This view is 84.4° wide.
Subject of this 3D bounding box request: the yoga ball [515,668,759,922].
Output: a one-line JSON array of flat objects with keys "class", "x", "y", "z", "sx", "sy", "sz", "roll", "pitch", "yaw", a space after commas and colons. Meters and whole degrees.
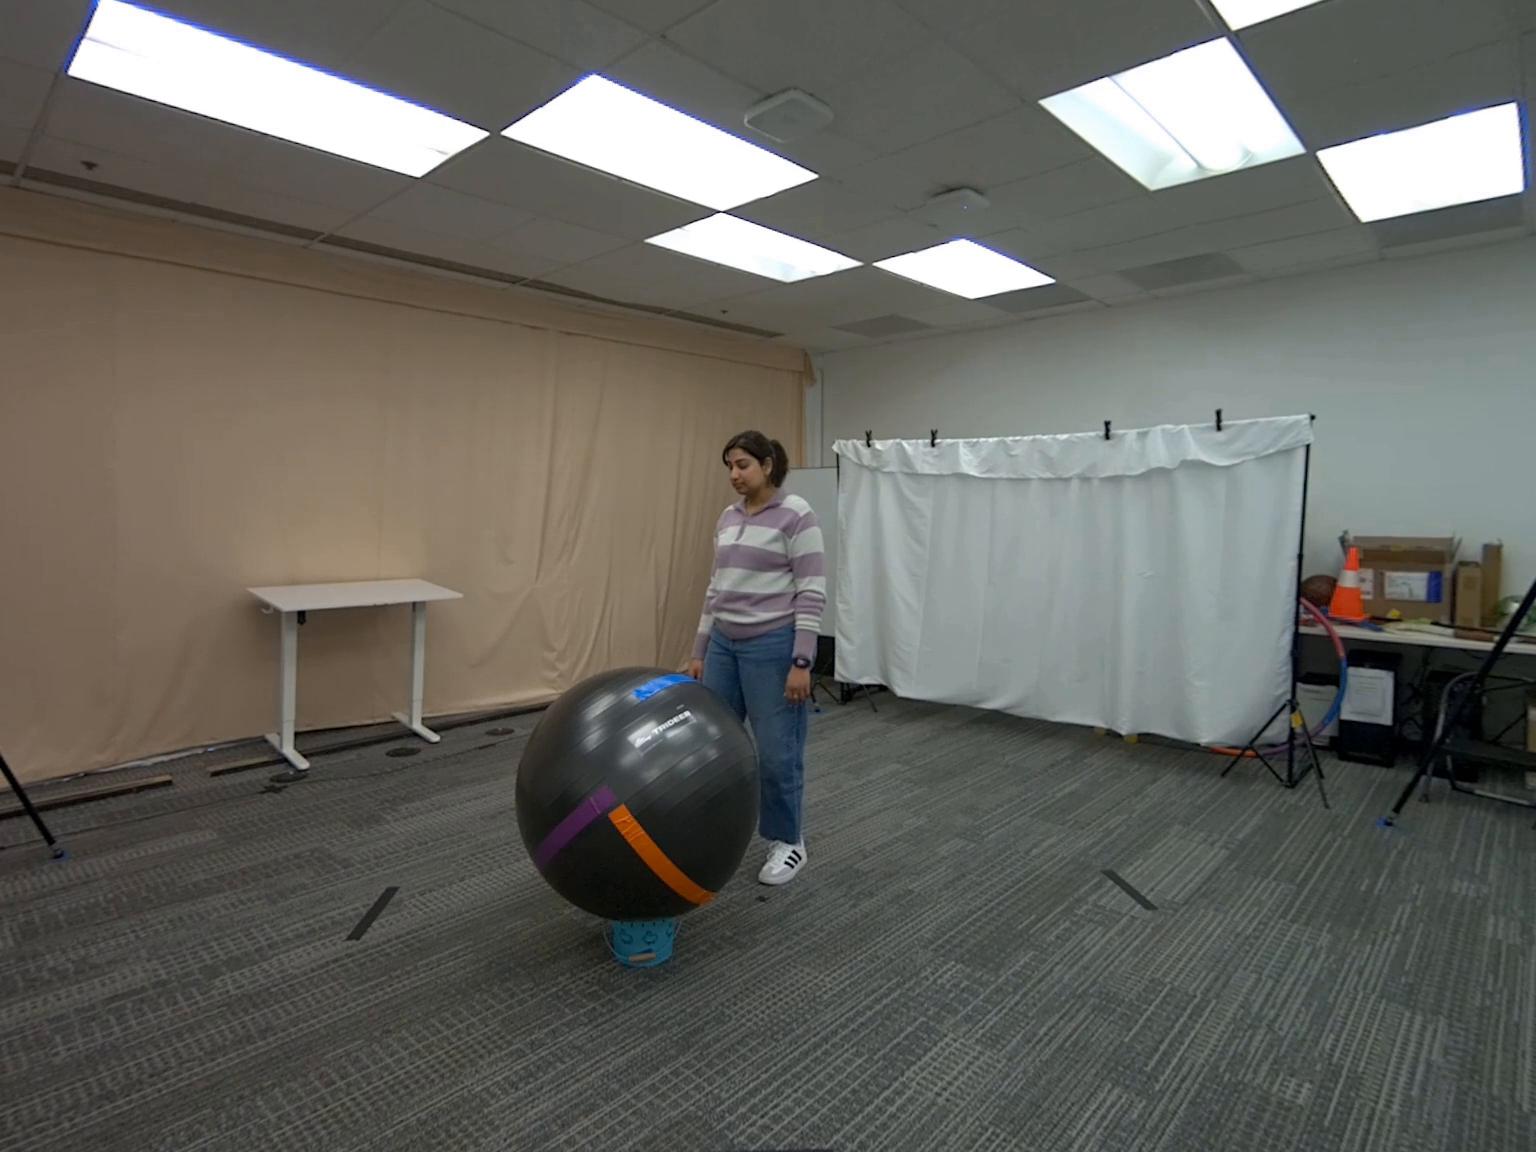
[{"class": "yoga ball", "x": -0.414, "y": 0.670, "z": 2.611, "sx": 0.757, "sy": 0.756, "sz": 0.761, "roll": 0, "pitch": 4, "yaw": -2}]
